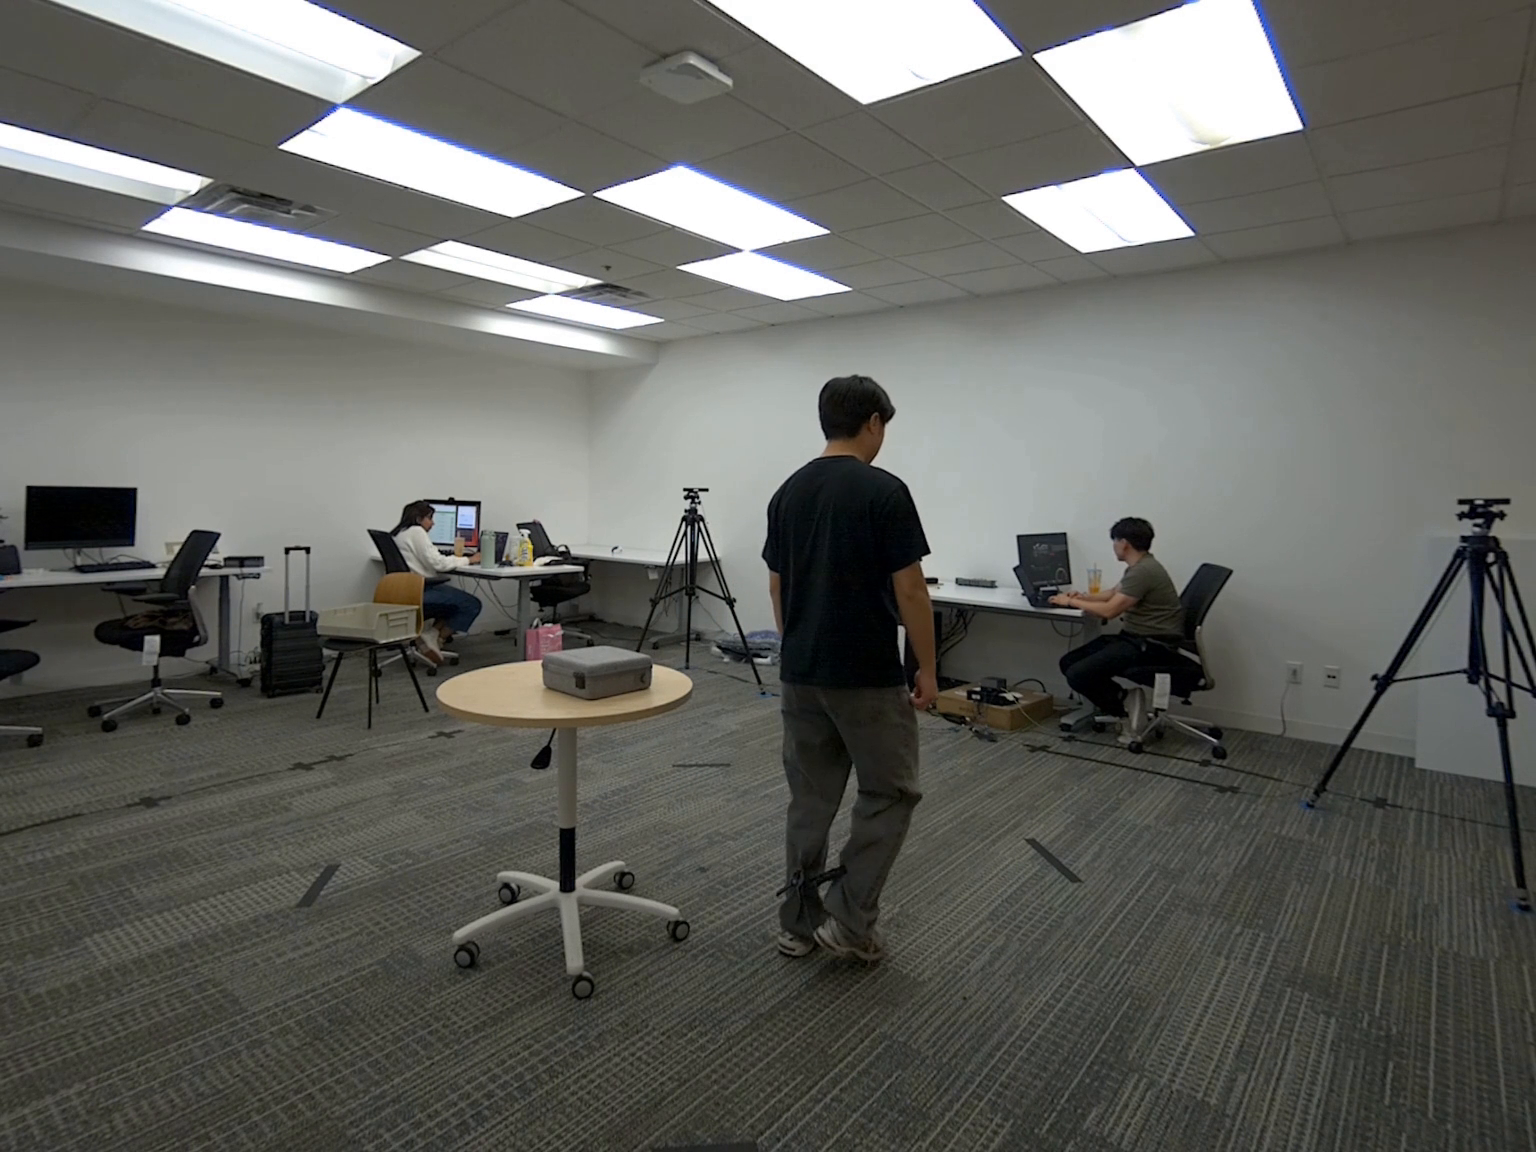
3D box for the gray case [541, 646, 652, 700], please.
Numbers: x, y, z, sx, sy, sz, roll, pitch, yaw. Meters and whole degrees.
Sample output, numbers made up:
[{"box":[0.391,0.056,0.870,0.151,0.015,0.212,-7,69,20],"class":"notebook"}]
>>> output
[{"box":[-0.517,0.281,2.574,0.272,0.103,0.278,5,7,43],"class":"gray case"}]
